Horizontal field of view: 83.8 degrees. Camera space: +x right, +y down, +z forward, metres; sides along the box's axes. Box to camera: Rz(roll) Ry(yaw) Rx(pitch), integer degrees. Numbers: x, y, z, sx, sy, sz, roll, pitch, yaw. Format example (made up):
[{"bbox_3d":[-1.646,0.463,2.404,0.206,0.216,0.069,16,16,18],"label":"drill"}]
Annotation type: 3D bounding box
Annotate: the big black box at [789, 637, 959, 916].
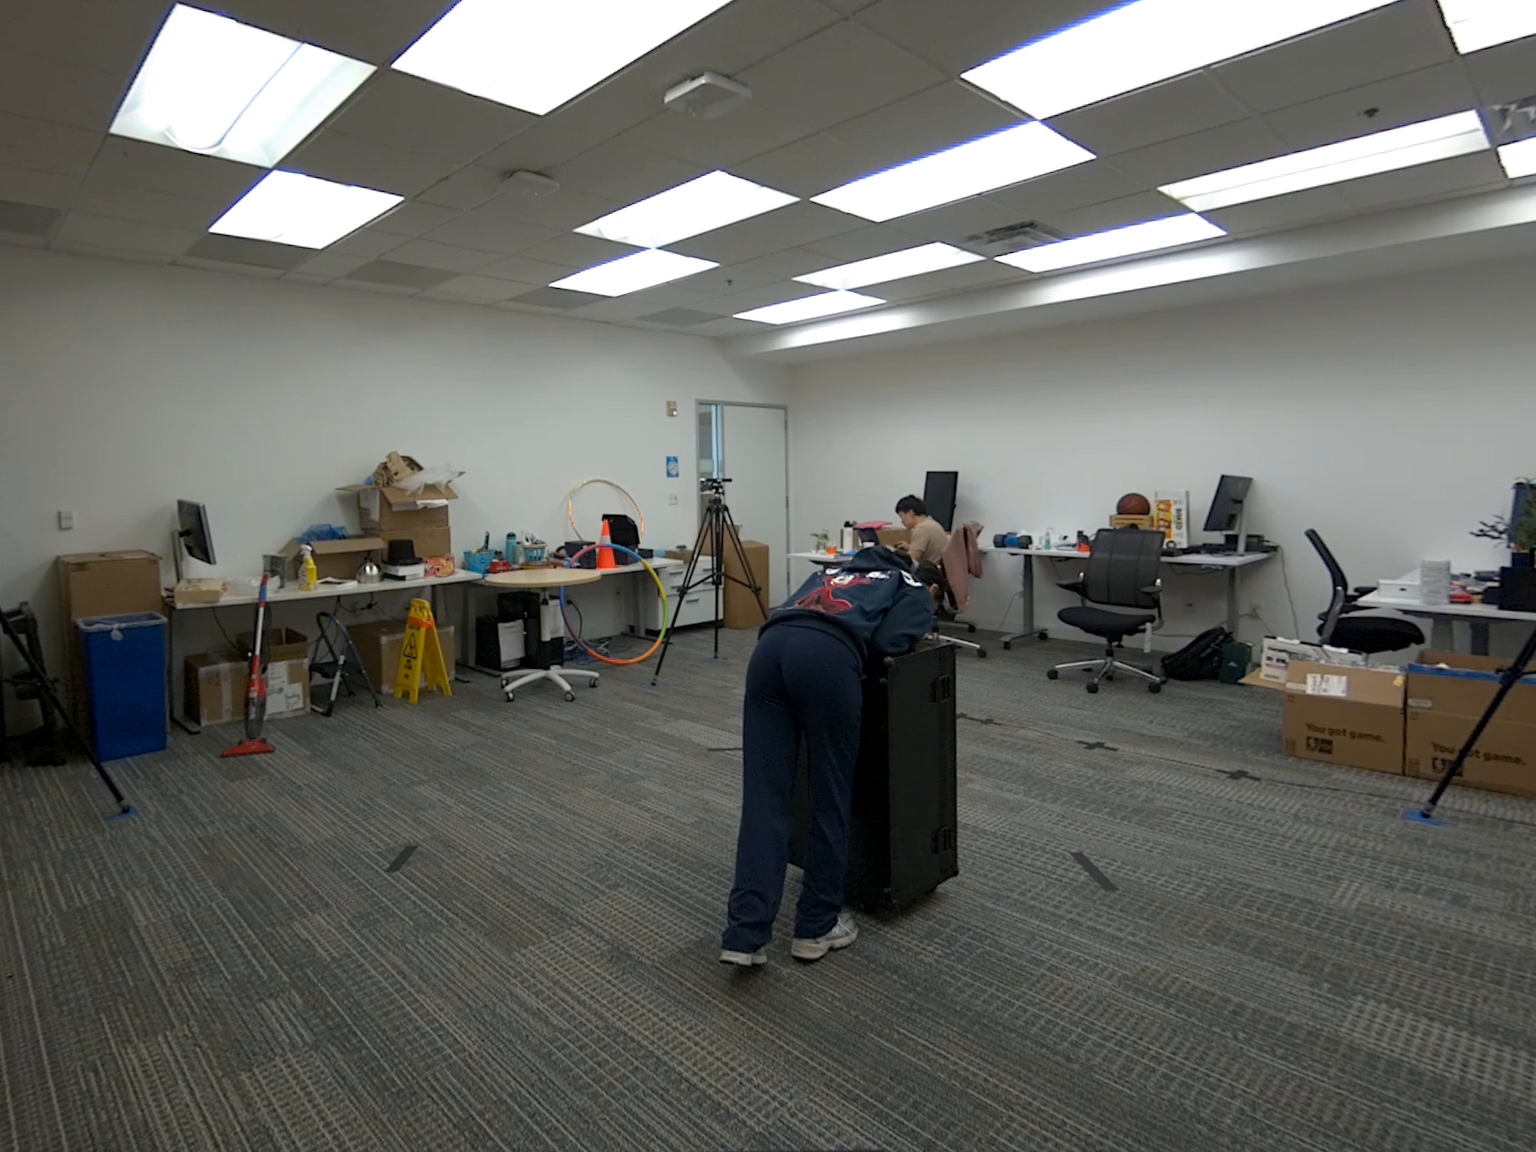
[{"bbox_3d":[0.333,0.644,2.873,0.386,0.857,0.537,-6,7,-41],"label":"big black box"}]
